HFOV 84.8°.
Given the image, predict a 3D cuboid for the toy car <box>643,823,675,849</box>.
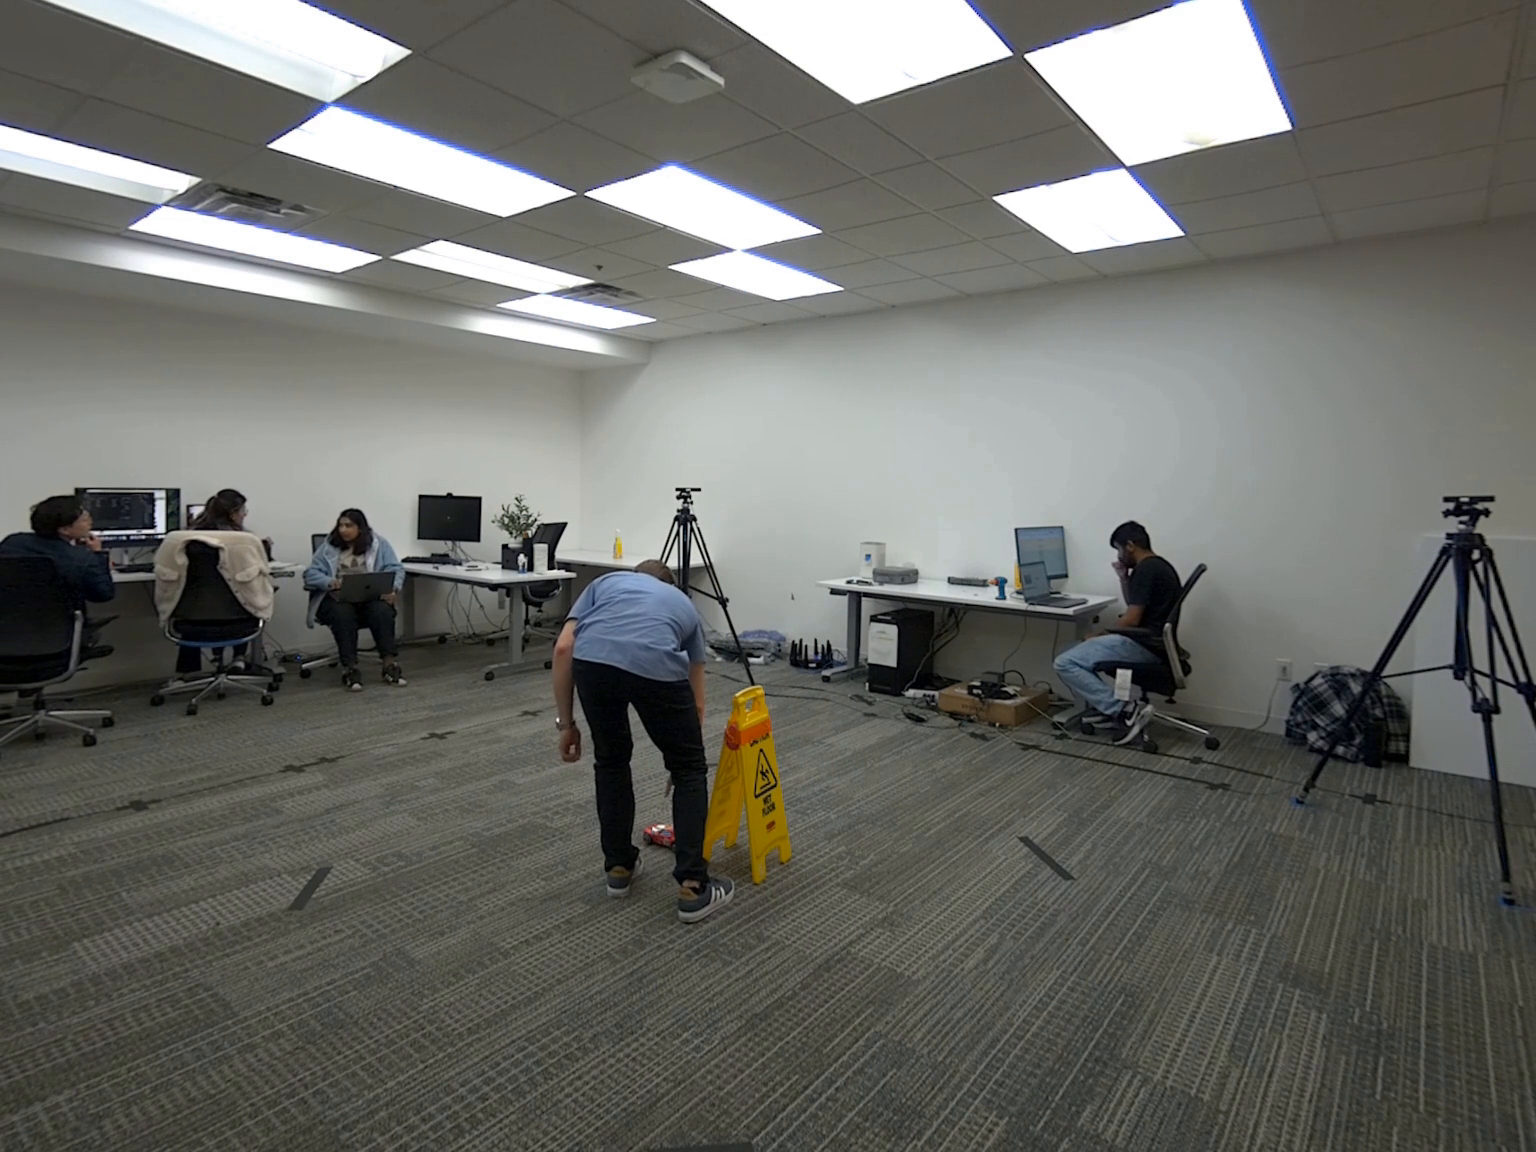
[{"bbox_3d":[-0.375,1.022,3.312,0.261,0.083,0.126,-5,-2,35],"label":"toy car"}]
